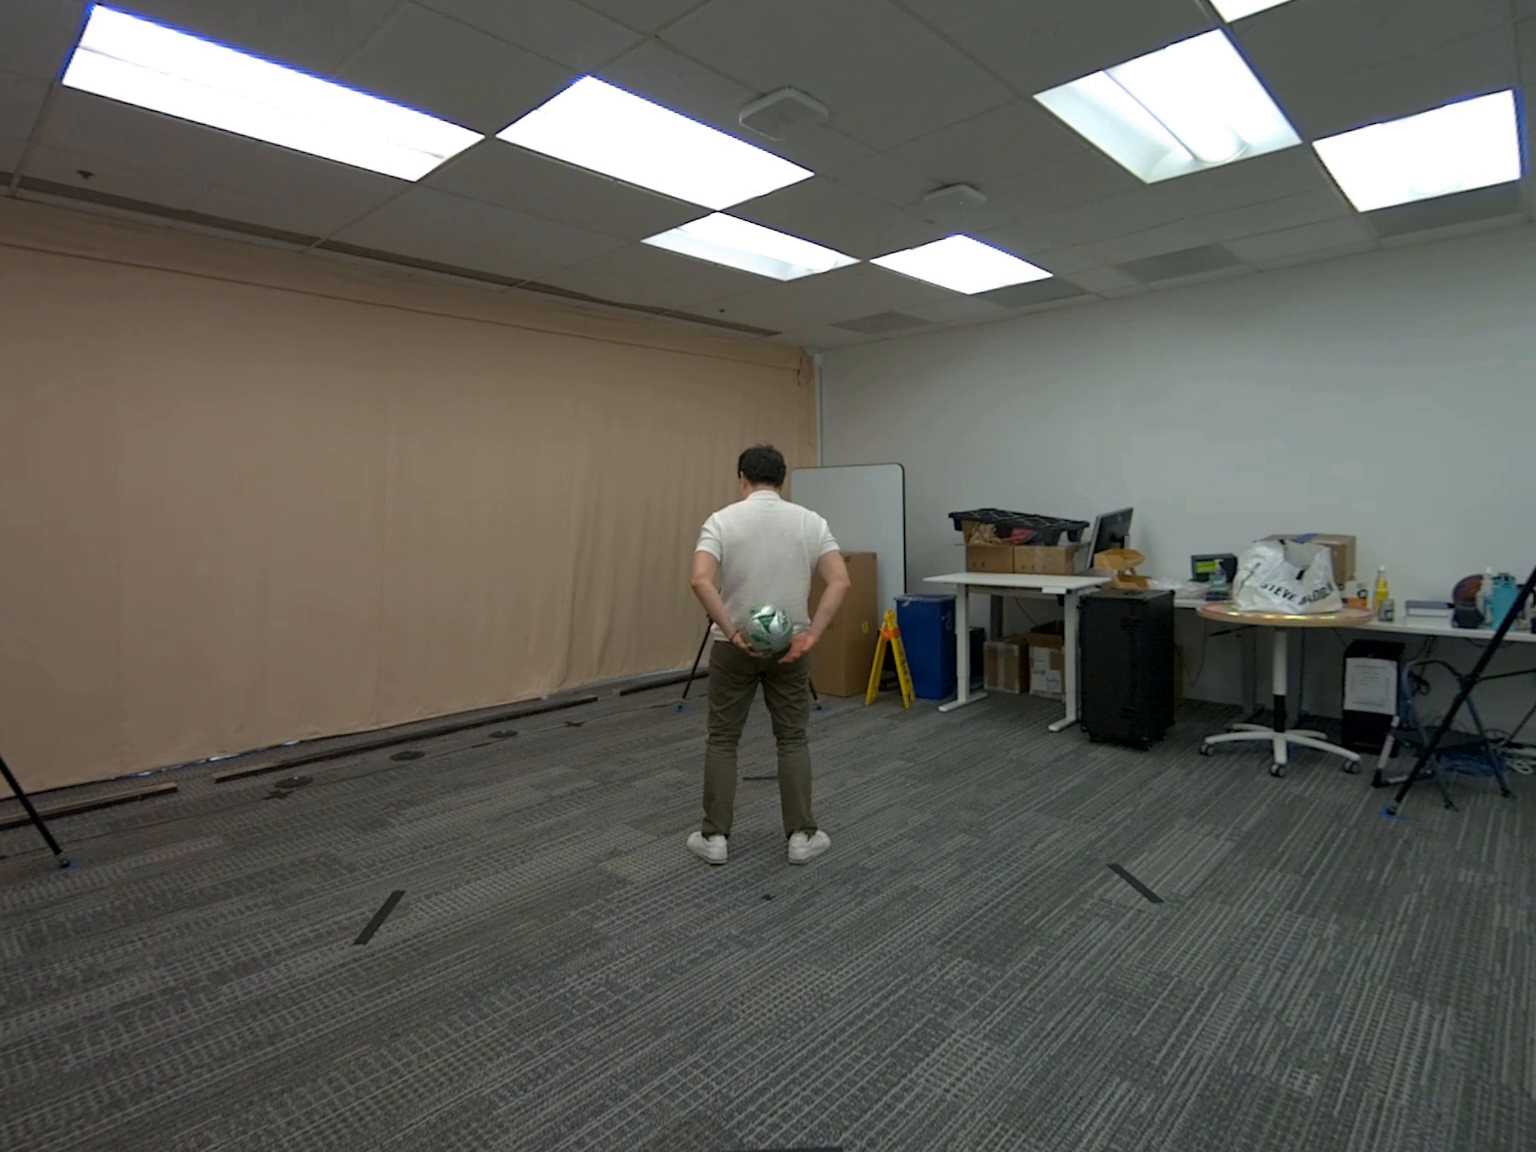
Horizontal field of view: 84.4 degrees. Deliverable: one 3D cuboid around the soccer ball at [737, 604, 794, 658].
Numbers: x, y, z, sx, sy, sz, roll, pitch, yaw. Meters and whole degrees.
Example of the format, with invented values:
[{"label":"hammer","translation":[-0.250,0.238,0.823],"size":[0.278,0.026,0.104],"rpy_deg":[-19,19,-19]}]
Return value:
[{"label":"soccer ball","translation":[-0.002,0.187,3.088],"size":[0.187,0.187,0.188],"rpy_deg":[-1,4,-2]}]
